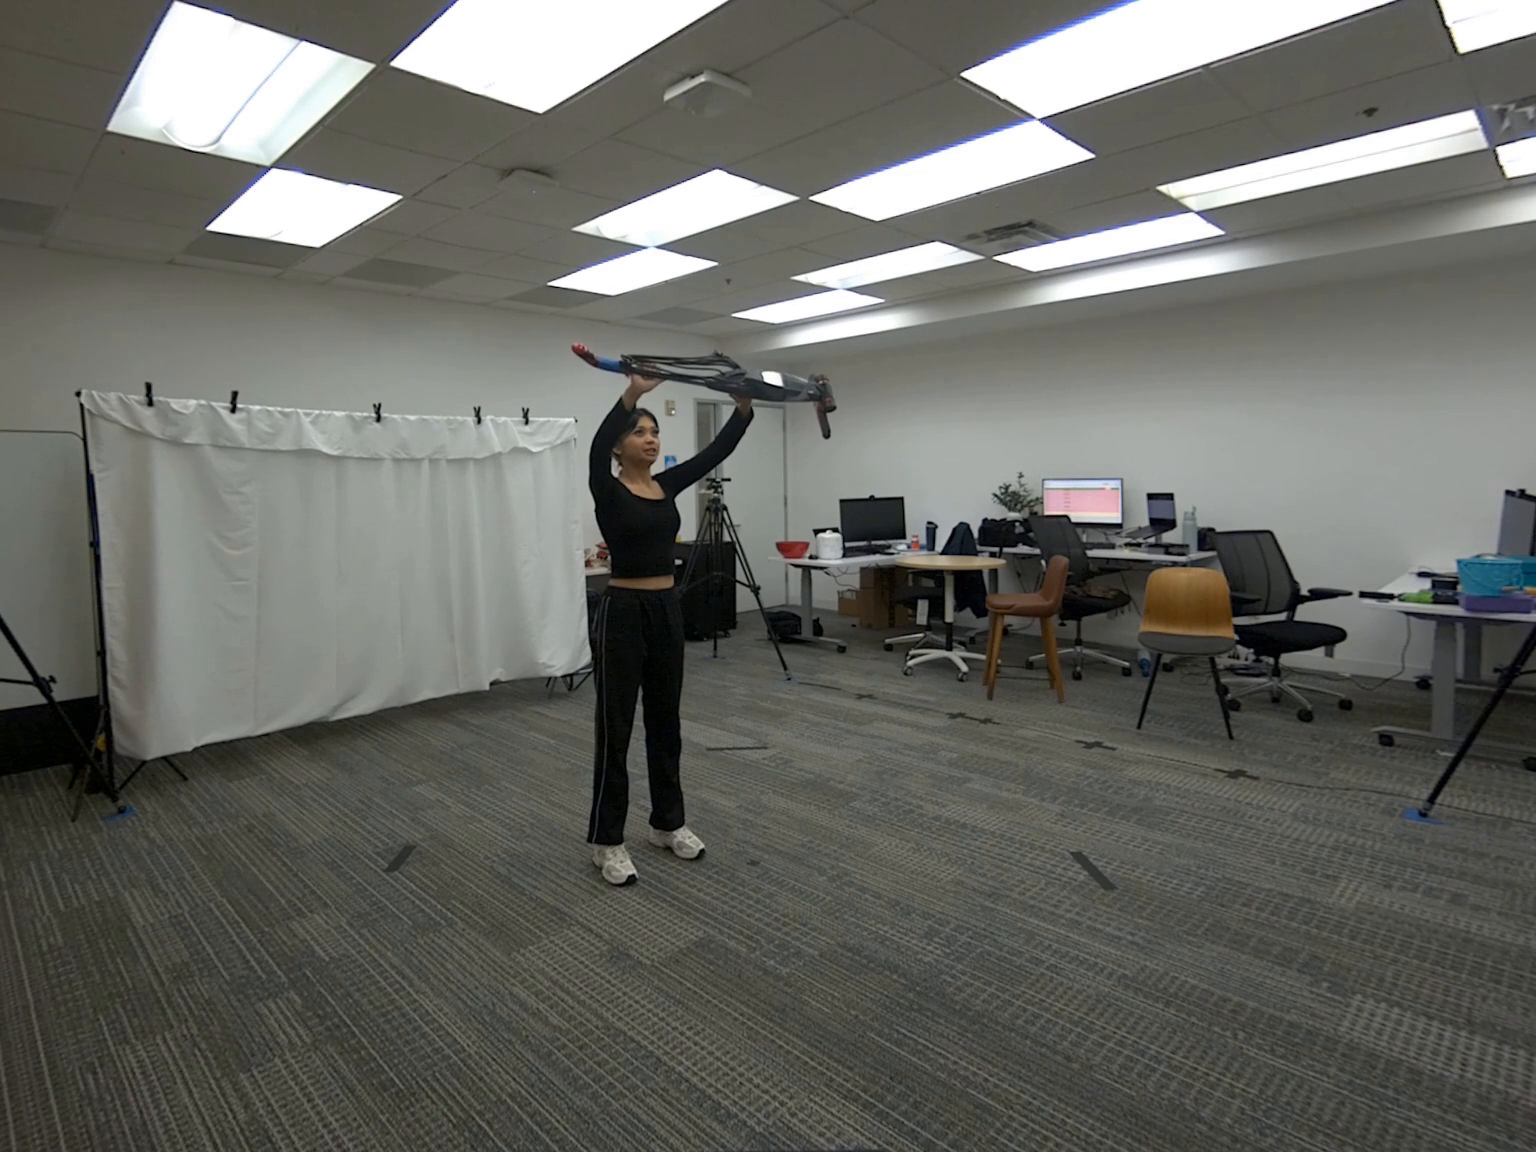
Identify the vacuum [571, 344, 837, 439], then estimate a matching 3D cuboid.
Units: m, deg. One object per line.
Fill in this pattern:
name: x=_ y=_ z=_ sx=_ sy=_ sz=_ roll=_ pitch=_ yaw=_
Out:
vacuum: x=-0.167 y=-0.642 z=2.778 sx=1.018 sy=0.258 sz=0.145 roll=2 pitch=-25 yaw=-42
